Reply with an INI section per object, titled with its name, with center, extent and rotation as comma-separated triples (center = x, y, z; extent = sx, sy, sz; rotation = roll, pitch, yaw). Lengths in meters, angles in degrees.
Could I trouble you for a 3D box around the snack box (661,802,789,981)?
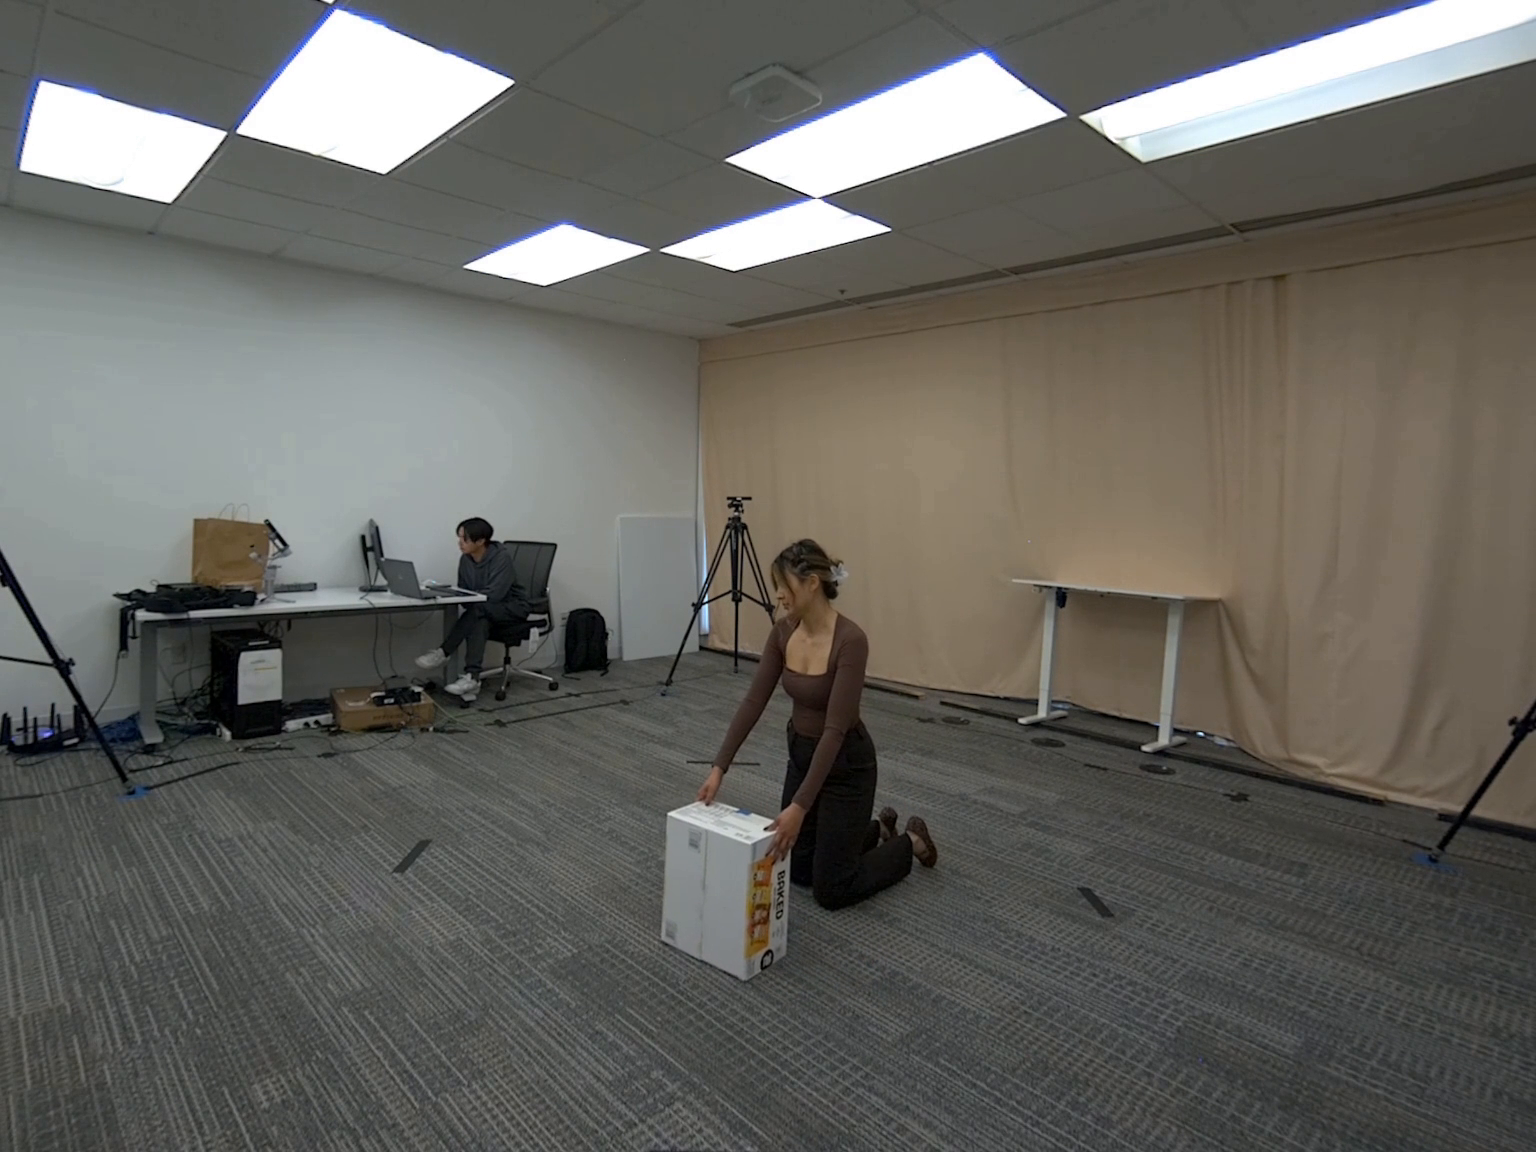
[snack box]
center = -0.133, 0.948, 2.594
extent = 0.349, 0.404, 0.201
rotation = 5, 3, 38
